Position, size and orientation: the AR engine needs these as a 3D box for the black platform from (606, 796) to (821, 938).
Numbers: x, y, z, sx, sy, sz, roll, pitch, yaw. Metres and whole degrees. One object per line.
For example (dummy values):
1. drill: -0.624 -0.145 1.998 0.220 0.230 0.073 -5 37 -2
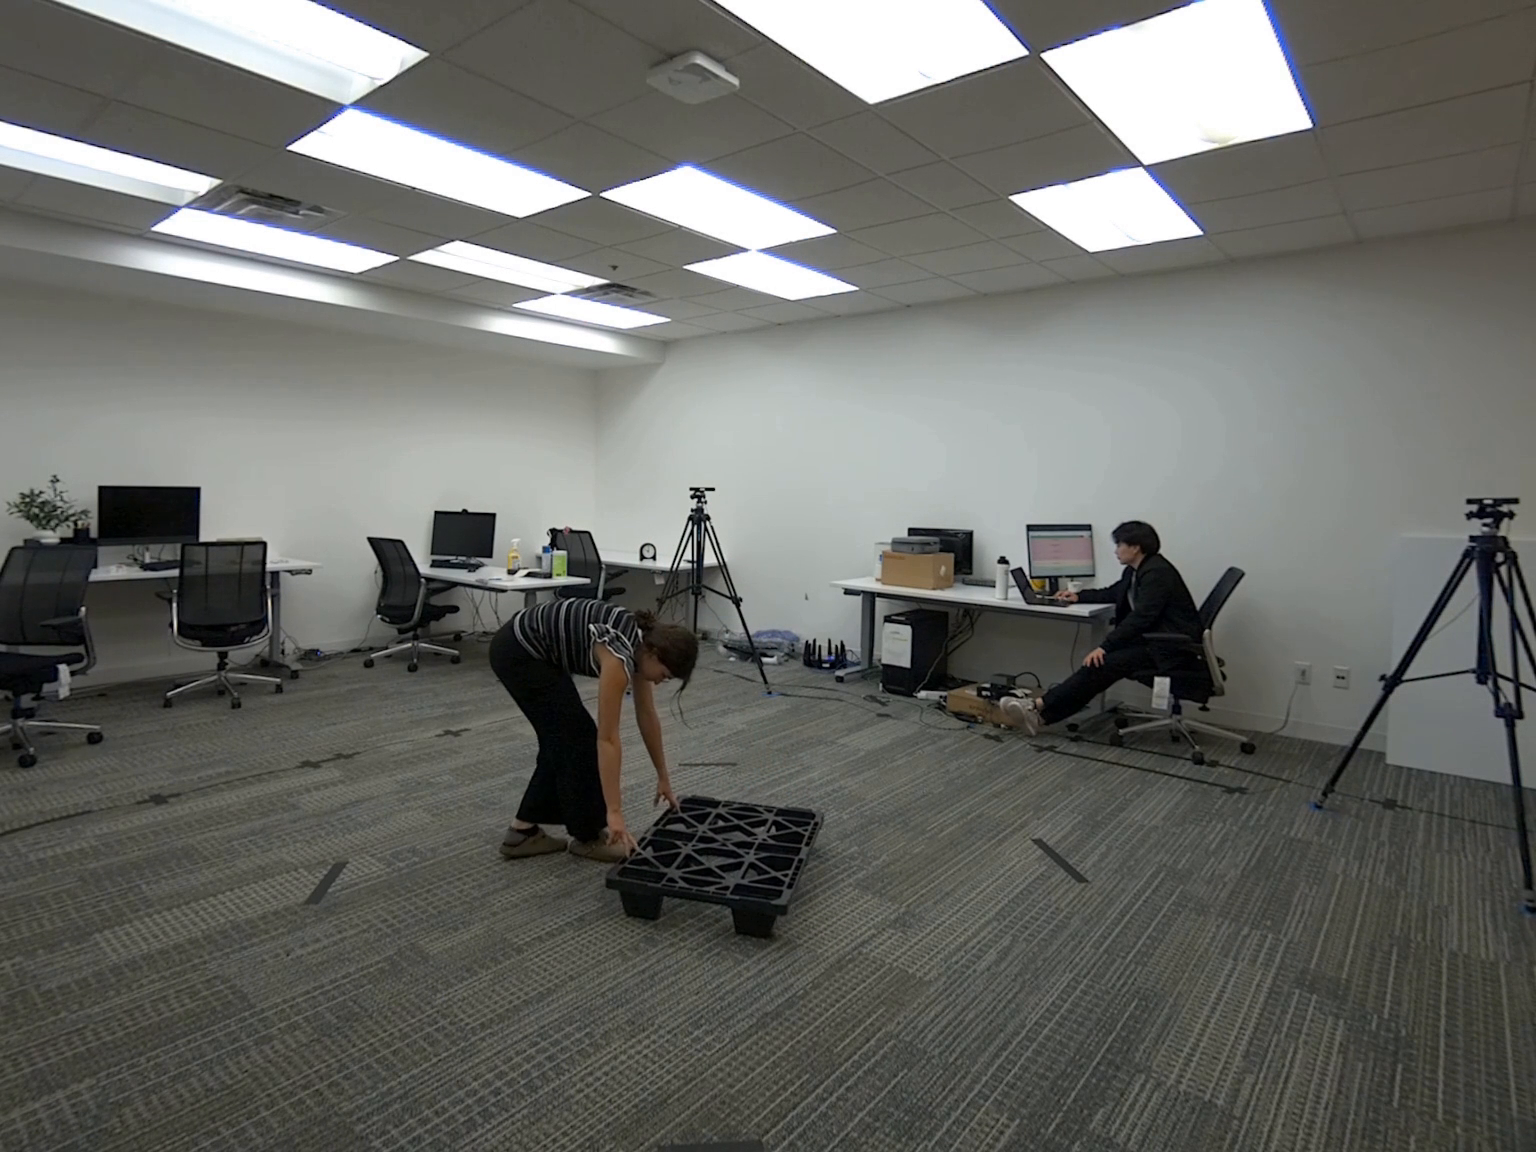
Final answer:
1. black platform: -0.163 1.006 3.035 0.614 0.143 0.797 3 6 13
